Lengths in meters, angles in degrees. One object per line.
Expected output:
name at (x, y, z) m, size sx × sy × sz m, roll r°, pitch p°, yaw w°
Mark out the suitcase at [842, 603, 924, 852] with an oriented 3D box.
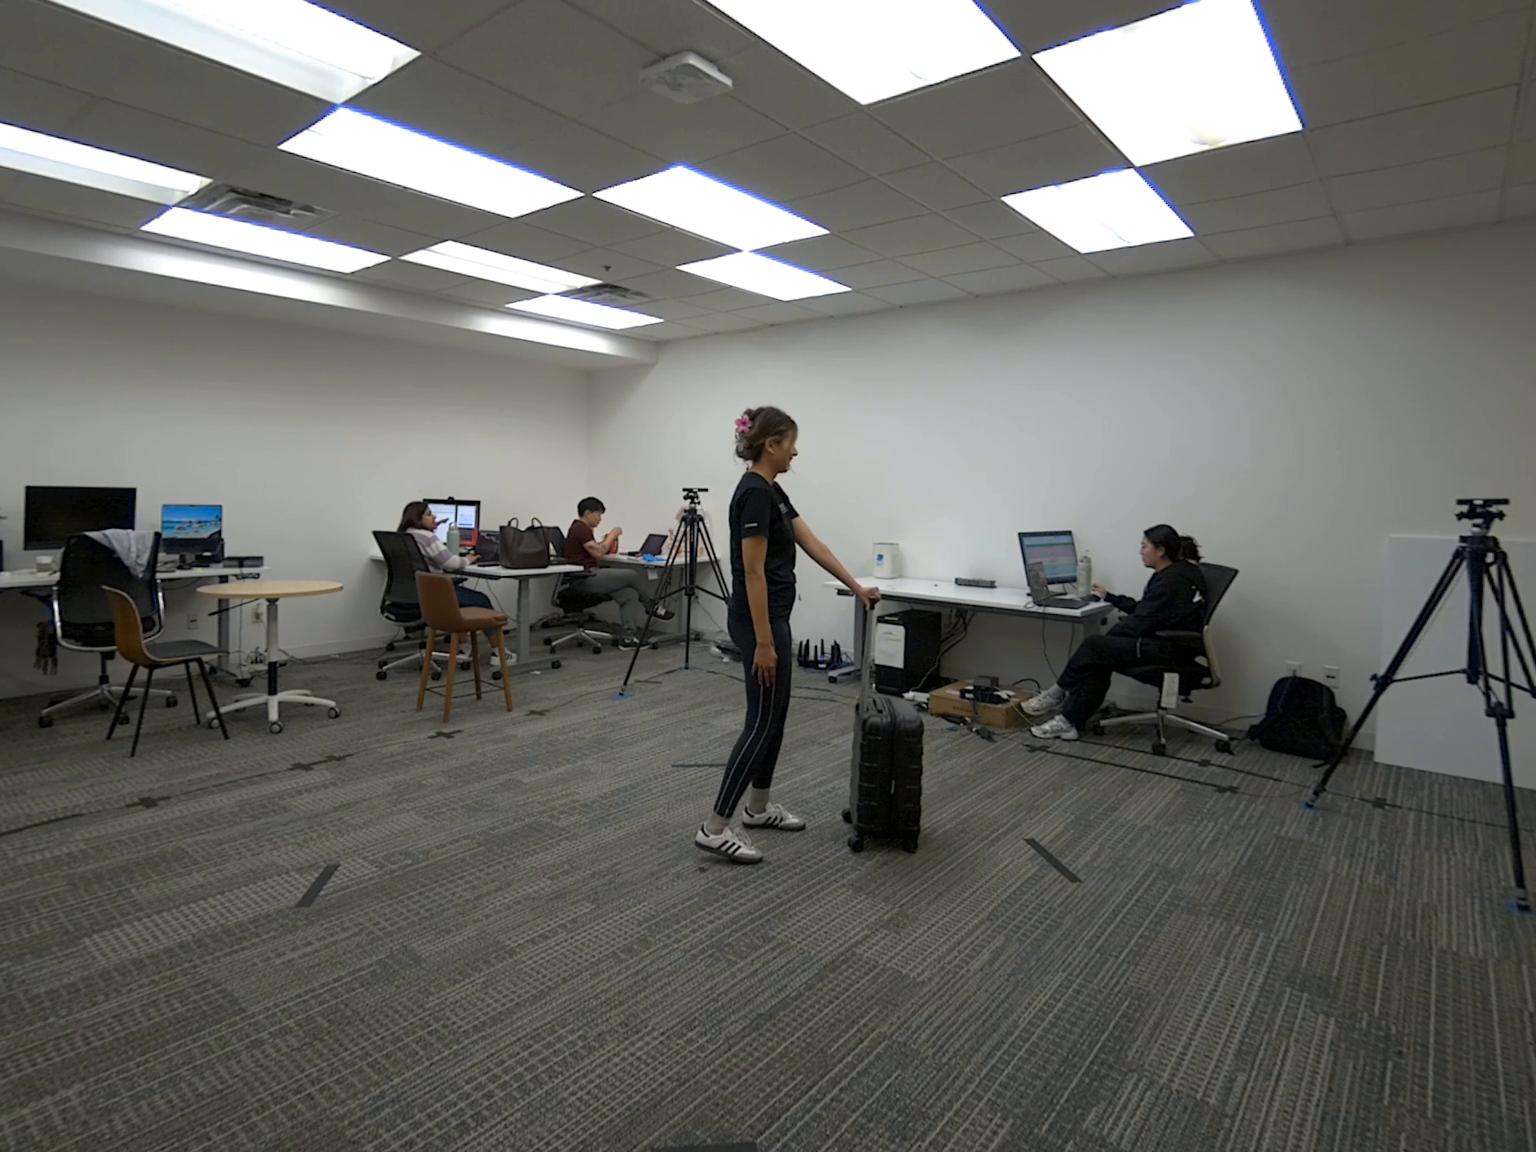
suitcase at (0.493, 0.578, 3.420) m, size 0.258 × 0.975 × 0.384 m, roll 6°, pitch 4°, yaw 1°
